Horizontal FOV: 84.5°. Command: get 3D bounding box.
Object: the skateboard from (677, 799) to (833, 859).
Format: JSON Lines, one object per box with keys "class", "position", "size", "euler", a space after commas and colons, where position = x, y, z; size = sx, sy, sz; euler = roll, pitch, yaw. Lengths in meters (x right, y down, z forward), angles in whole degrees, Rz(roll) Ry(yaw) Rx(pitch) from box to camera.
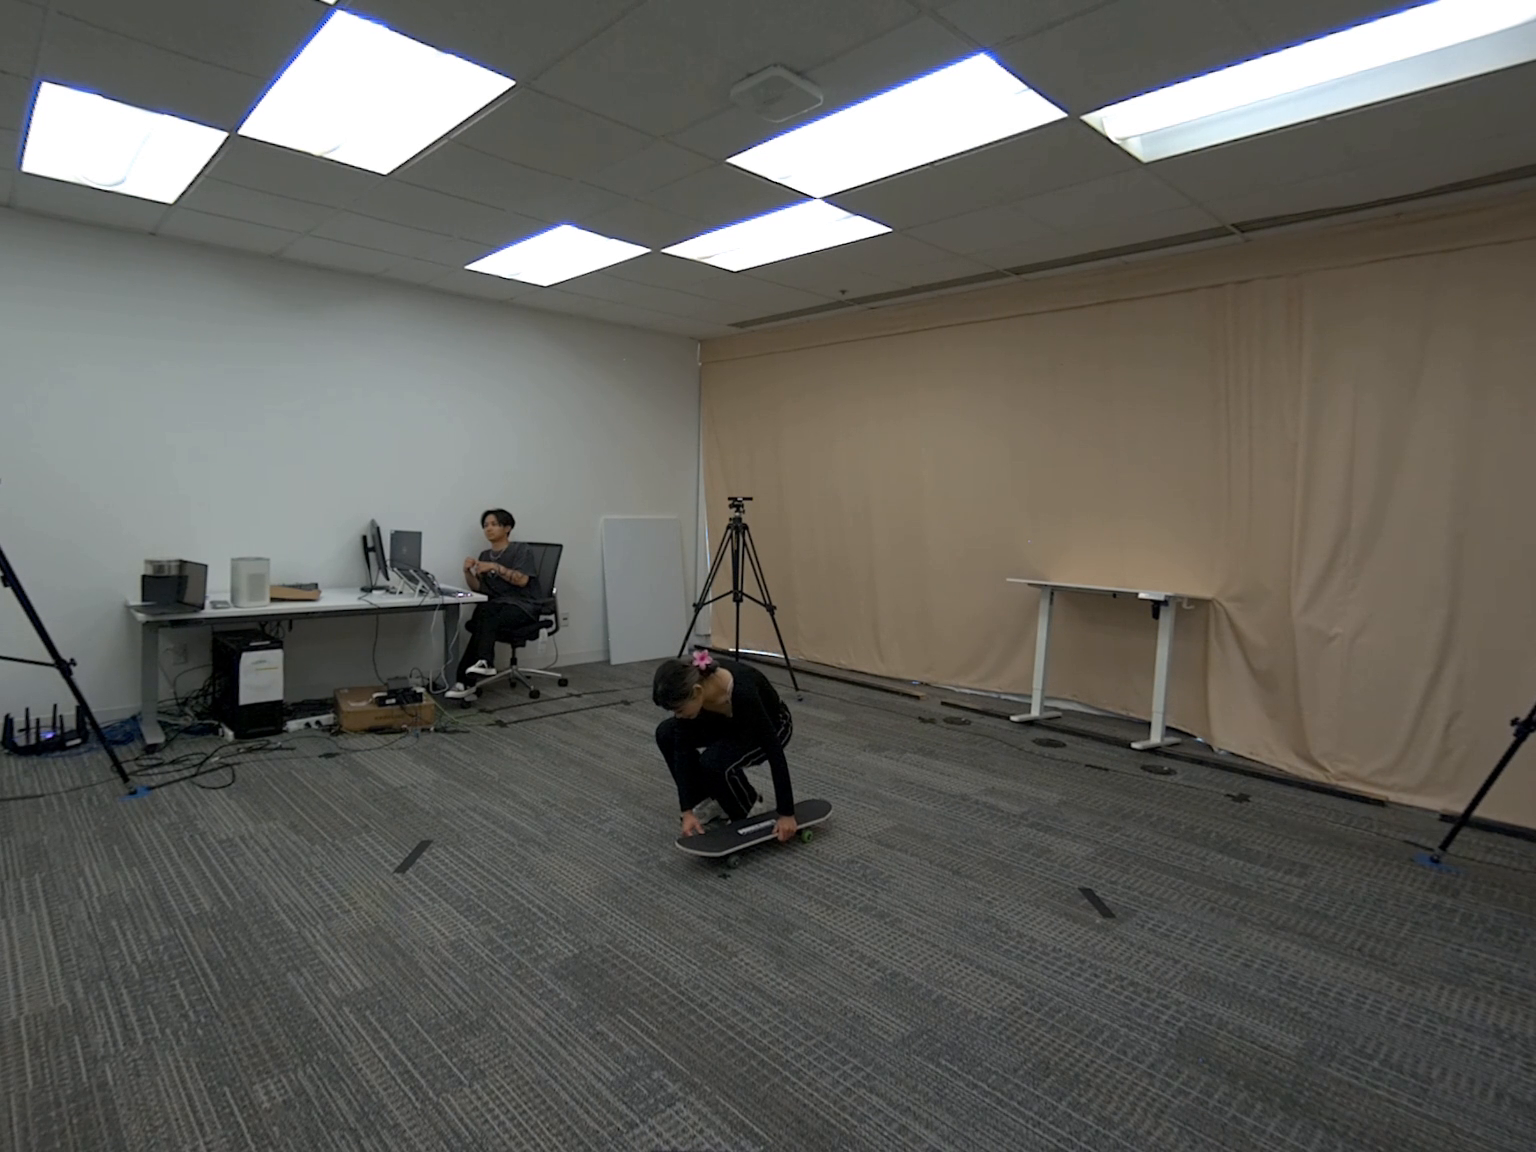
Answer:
{"class": "skateboard", "position": [-0.044, 1.026, 3.355], "size": [0.767, 0.110, 0.198], "euler": [-3, 7, -43]}
